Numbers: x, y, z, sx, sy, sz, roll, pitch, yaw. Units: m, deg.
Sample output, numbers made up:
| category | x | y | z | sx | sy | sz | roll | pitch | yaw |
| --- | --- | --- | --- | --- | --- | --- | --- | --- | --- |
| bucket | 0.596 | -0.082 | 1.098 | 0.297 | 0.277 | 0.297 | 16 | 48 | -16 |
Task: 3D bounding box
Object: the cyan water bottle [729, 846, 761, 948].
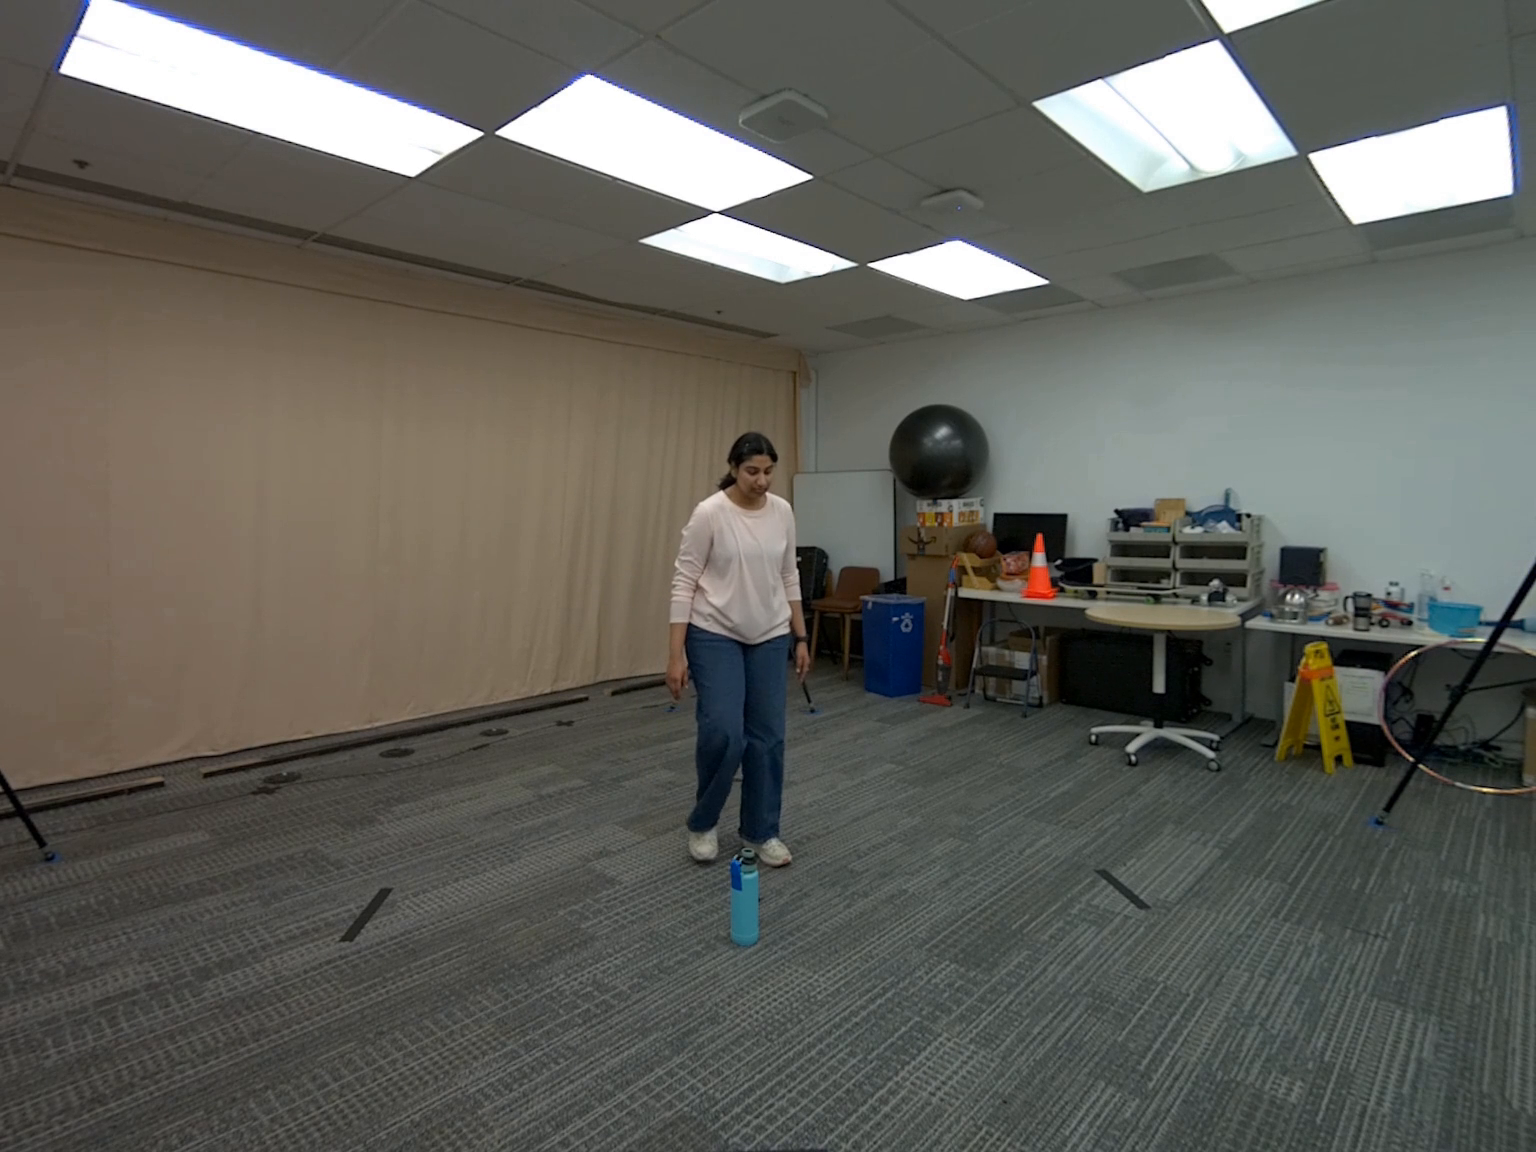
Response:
| category | x | y | z | sx | sy | sz | roll | pitch | yaw |
| --- | --- | --- | --- | --- | --- | --- | --- | --- | --- |
| cyan water bottle | -0.078 | 1.023 | 2.706 | 0.092 | 0.282 | 0.093 | -1 | 4 | -2 |
